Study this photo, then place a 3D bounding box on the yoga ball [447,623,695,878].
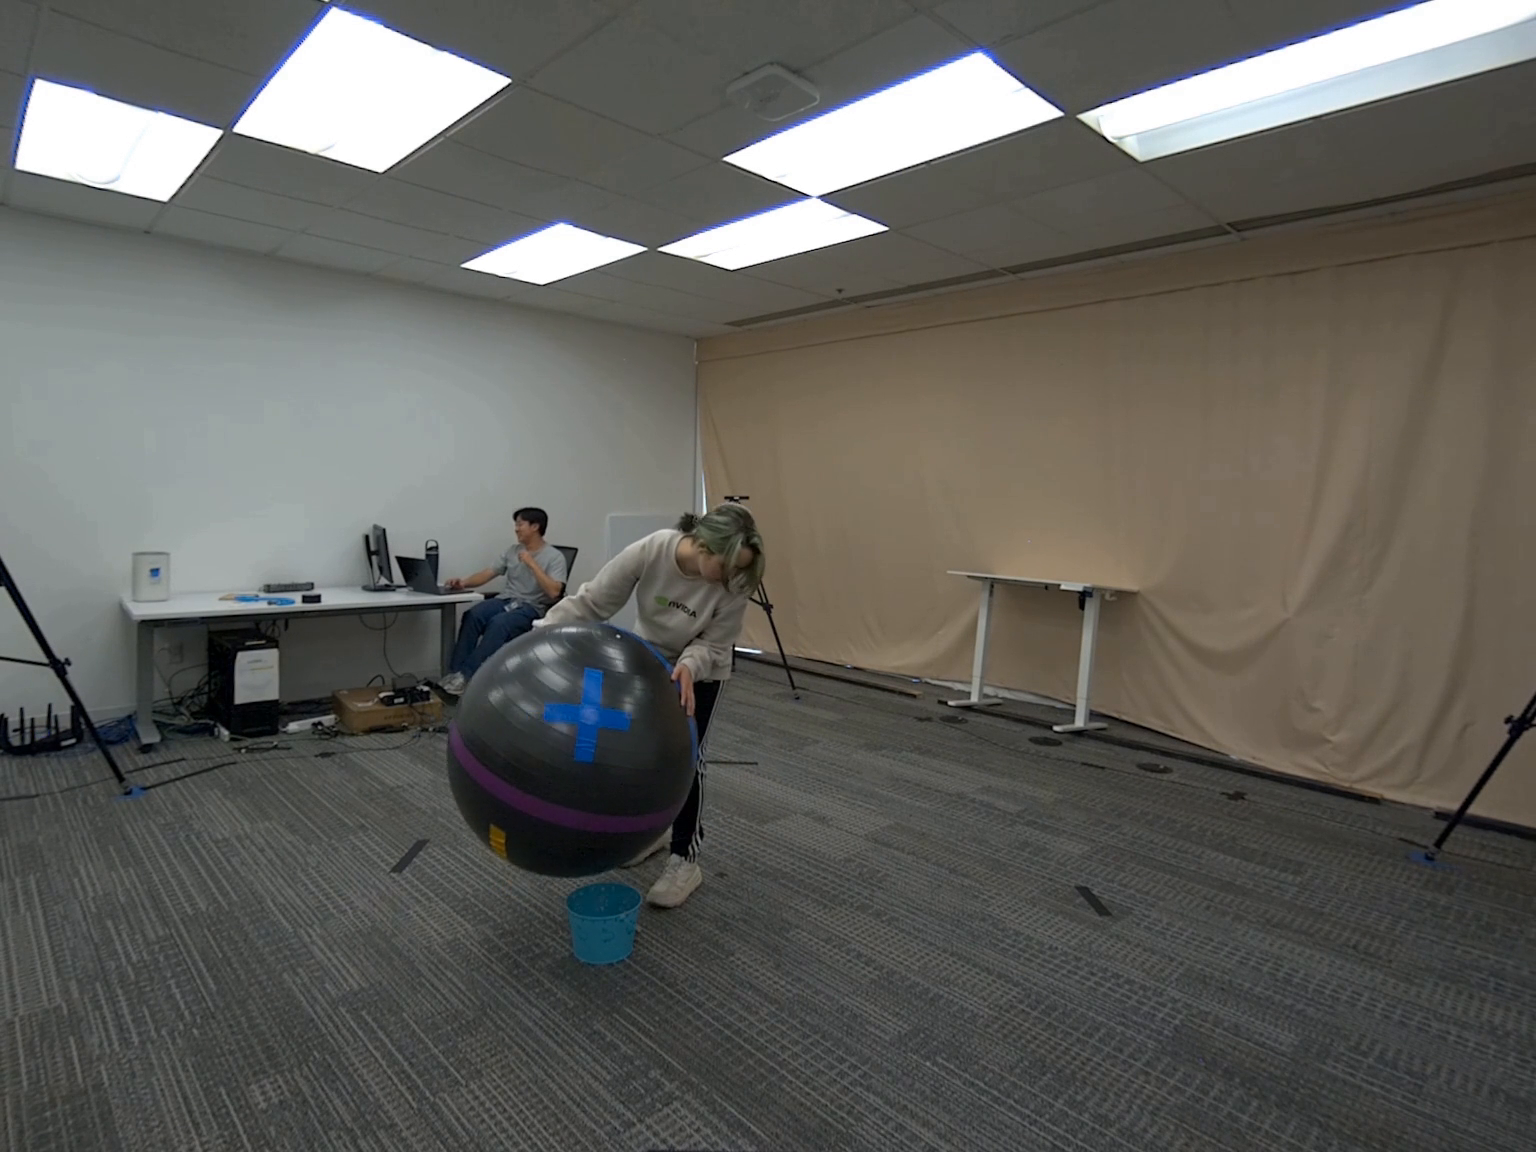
[{"bbox_3d":[-0.594,0.530,2.577,0.757,0.756,0.761,1,4,-1],"label":"yoga ball"}]
